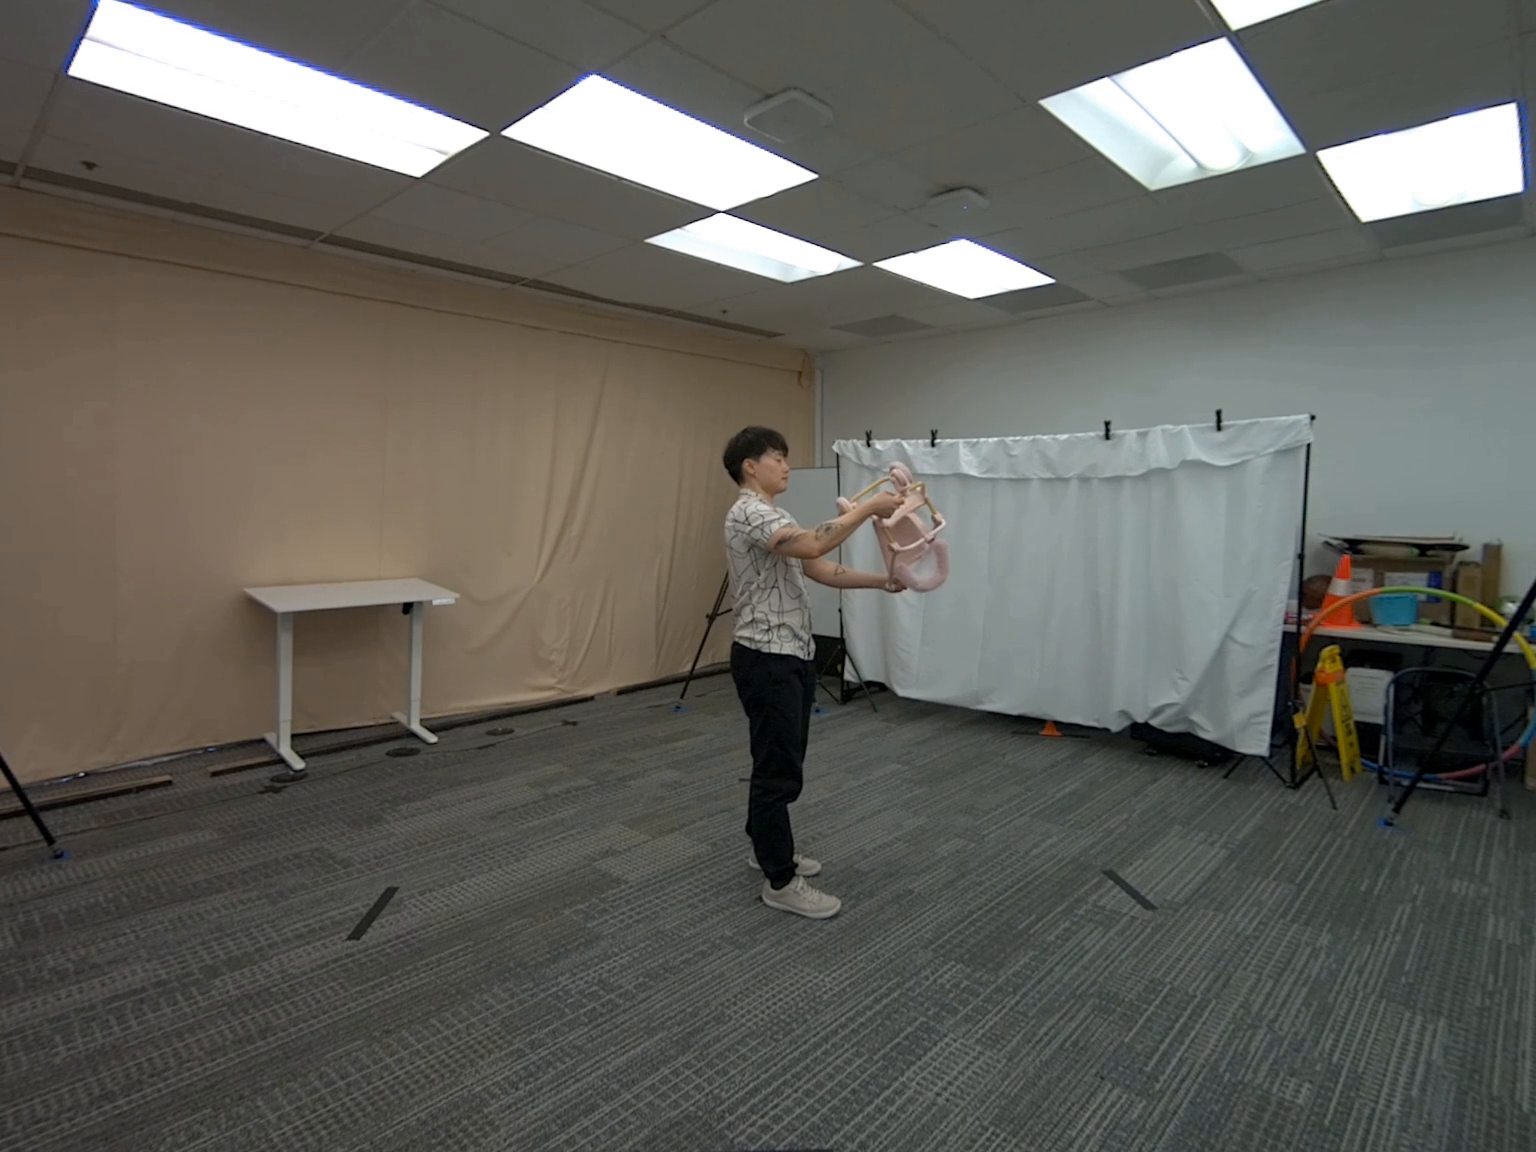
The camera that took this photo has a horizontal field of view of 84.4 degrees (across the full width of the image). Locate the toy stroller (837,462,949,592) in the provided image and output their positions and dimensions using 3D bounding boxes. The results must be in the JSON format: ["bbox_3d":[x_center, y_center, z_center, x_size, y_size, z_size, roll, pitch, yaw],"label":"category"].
[{"bbox_3d":[0.494,-0.159,2.976,0.279,0.524,0.351,-33,20,-15],"label":"toy stroller"}]
